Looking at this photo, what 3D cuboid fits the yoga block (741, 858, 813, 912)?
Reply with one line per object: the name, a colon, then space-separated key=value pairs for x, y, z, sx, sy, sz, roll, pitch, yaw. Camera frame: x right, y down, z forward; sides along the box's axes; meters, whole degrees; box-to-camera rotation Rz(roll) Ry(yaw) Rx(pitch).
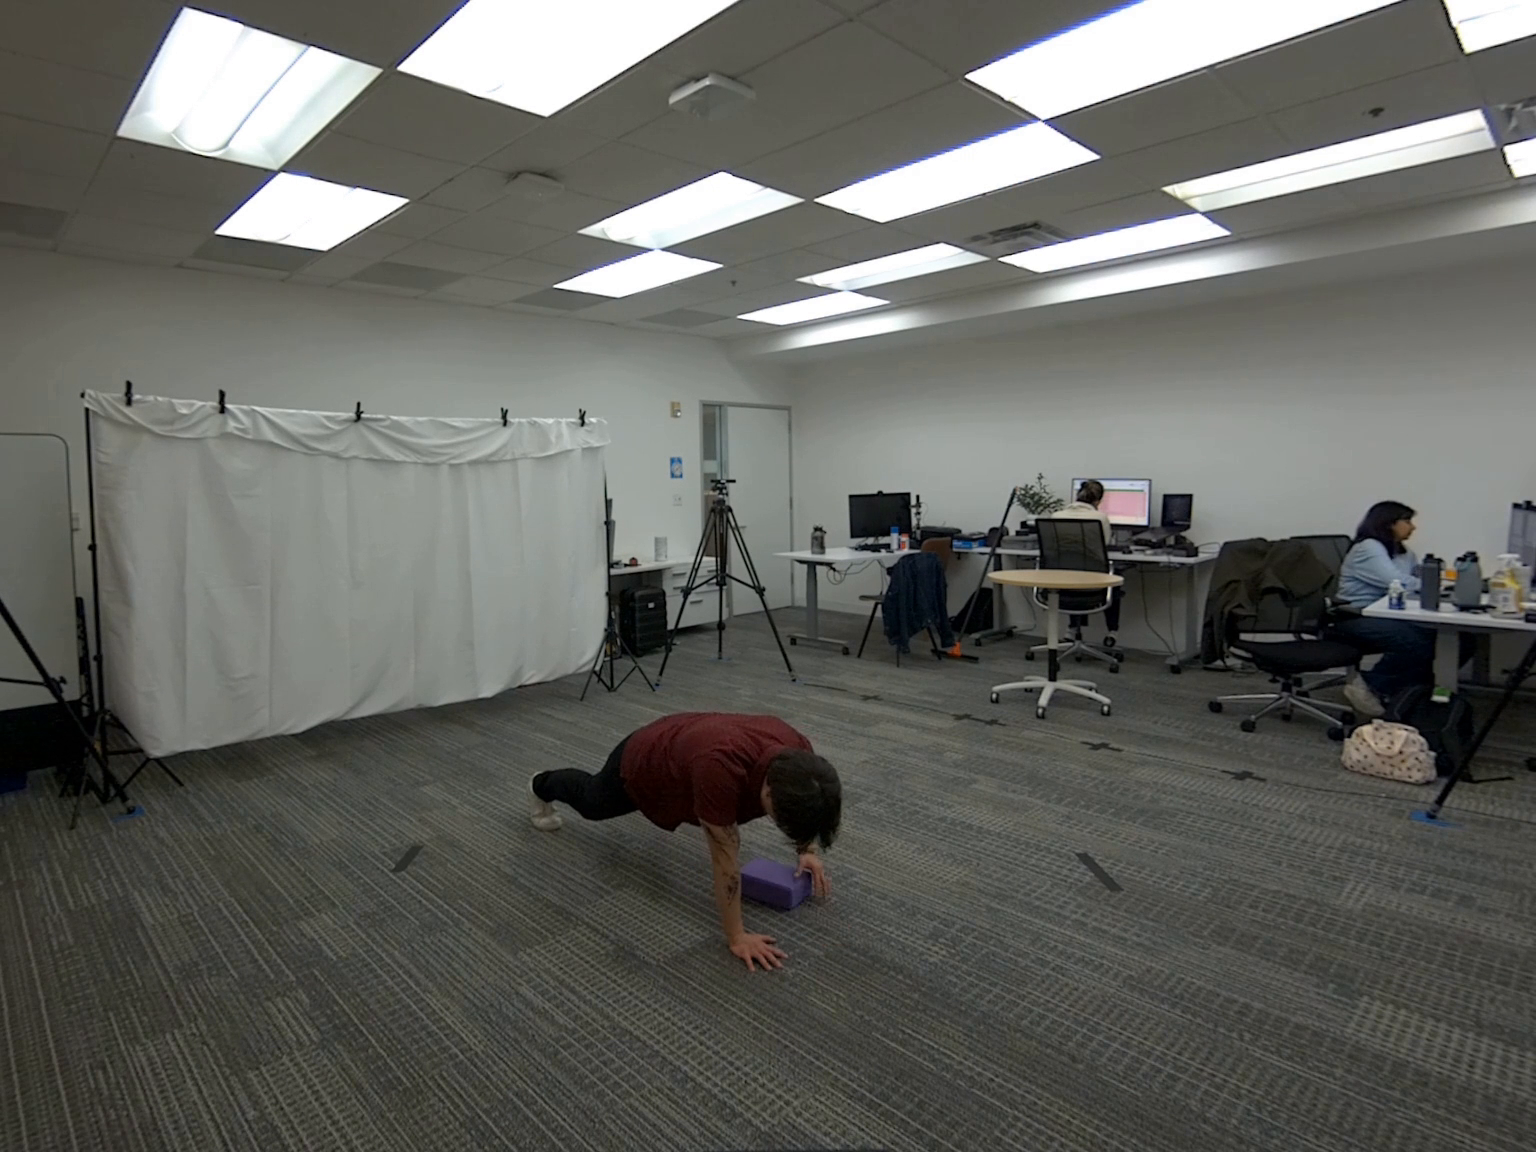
yoga block: x=0.017 y=1.027 z=2.876 sx=0.236 sy=0.076 sz=0.145 roll=4 pitch=7 yaw=35
